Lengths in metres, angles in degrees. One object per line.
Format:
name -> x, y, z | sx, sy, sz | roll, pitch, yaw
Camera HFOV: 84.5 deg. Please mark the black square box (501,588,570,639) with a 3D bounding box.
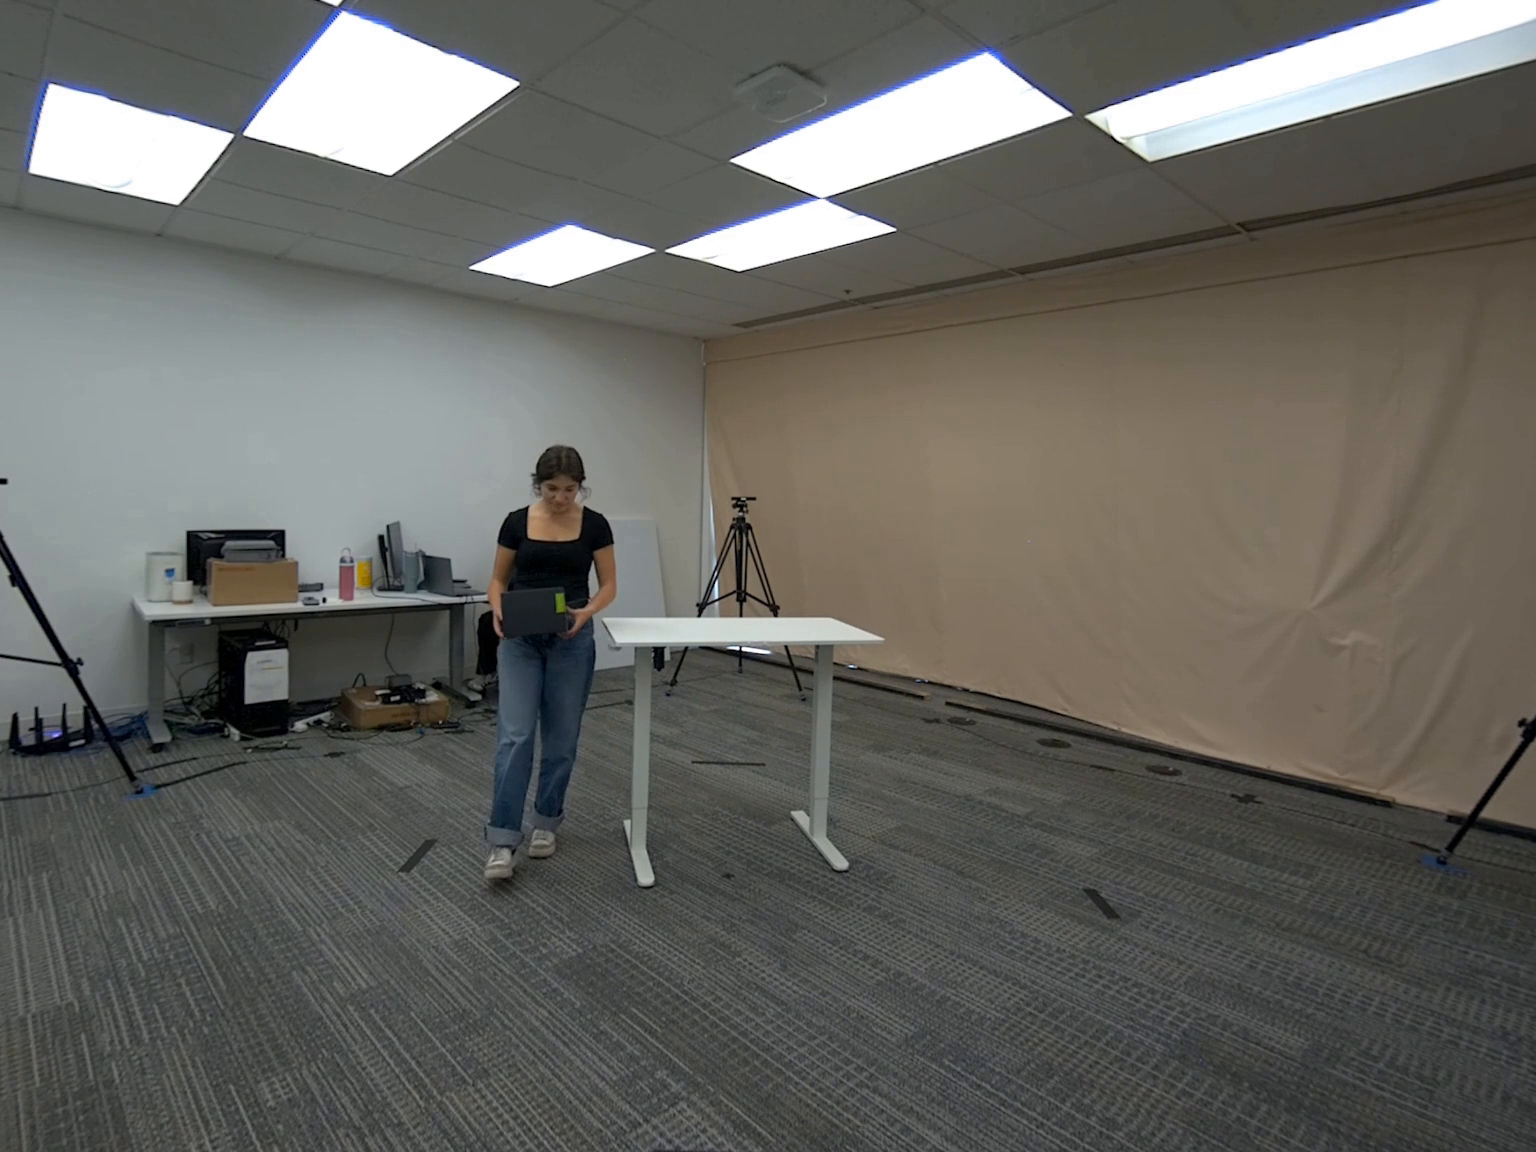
black square box -> -0.851, 0.124, 3.007 | 0.215, 0.156, 0.230 | -5, 0, -12
